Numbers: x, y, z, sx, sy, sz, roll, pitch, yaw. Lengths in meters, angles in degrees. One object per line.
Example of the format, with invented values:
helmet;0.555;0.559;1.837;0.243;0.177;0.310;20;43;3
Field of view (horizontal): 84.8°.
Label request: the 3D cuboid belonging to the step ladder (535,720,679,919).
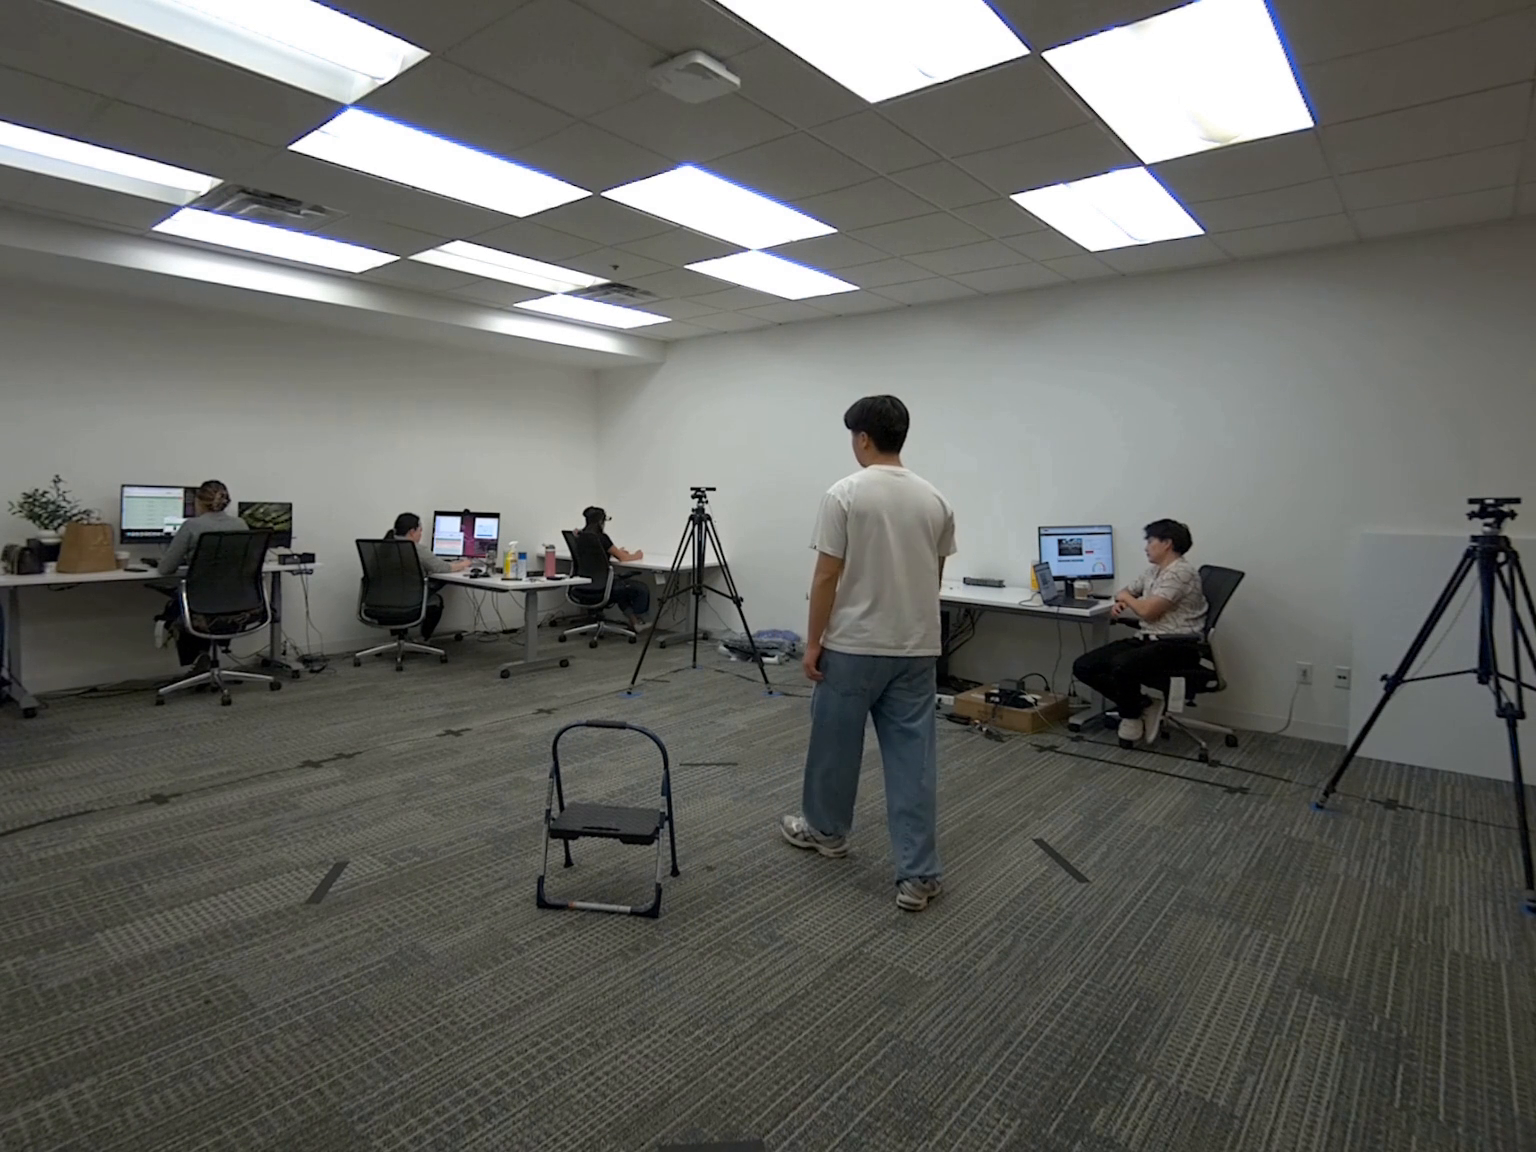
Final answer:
step ladder;-0.552;0.777;2.913;0.434;0.604;0.348;1;3;6
